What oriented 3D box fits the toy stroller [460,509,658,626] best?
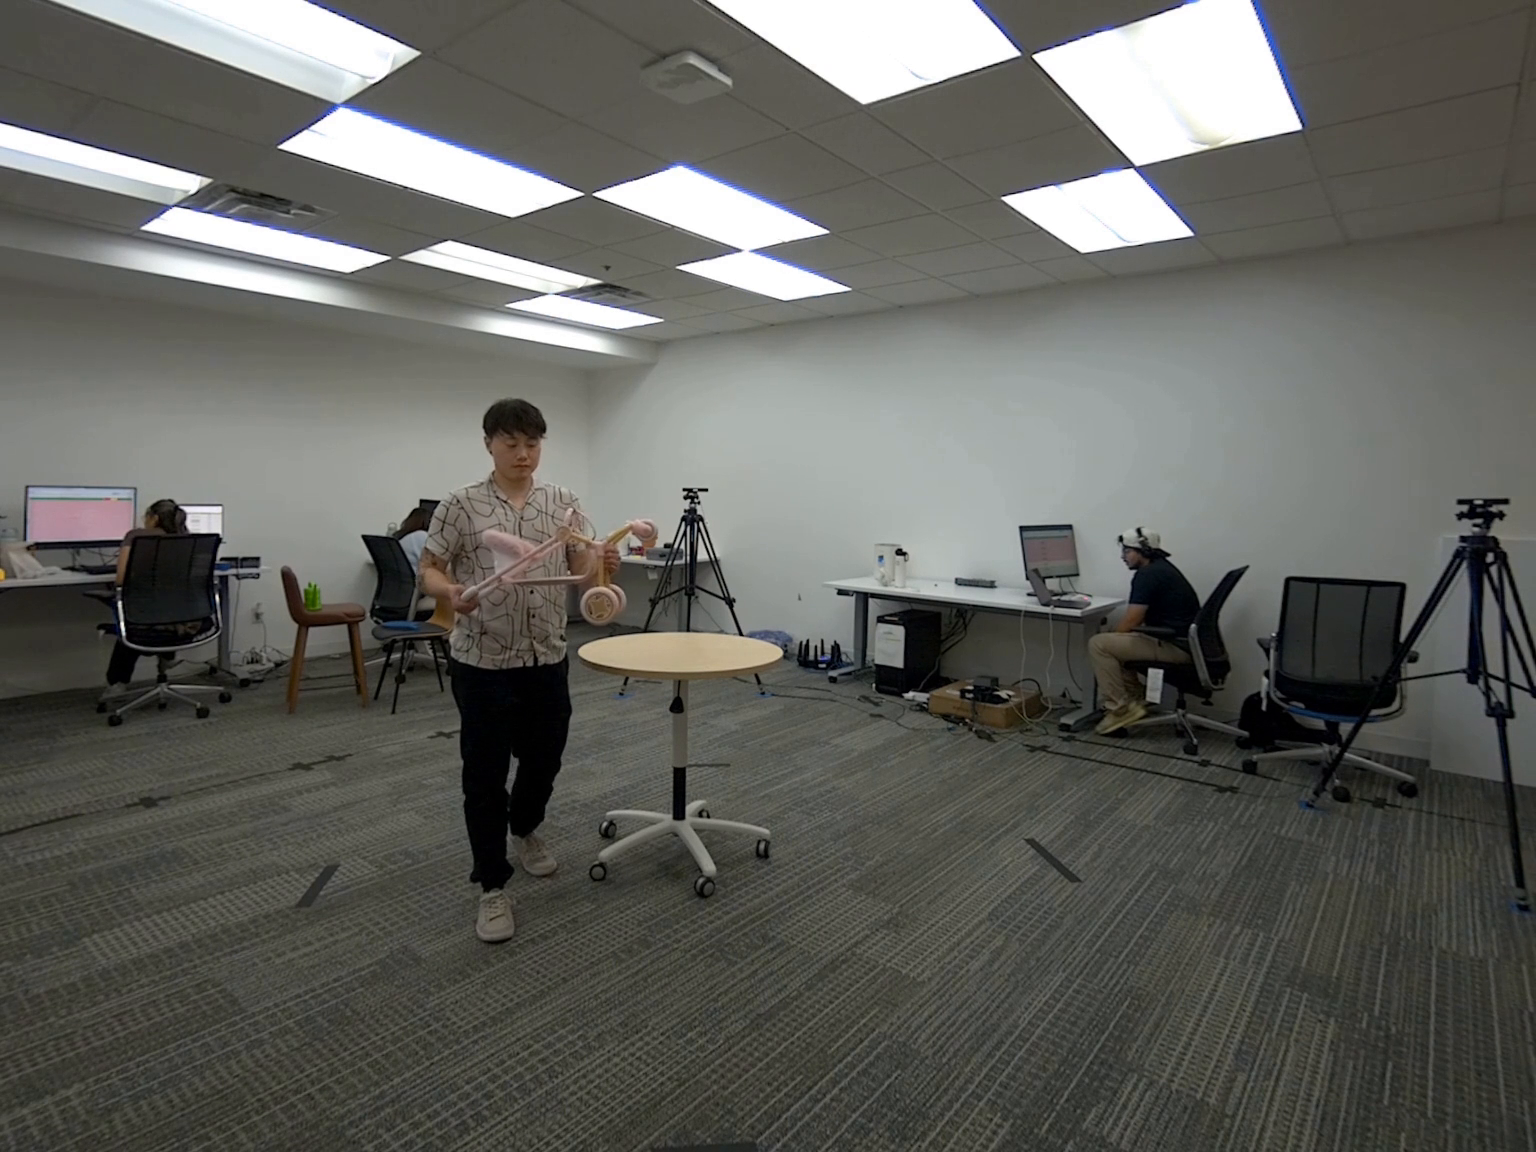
[{"bbox_3d":[-0.618,-0.051,2.547,0.534,0.340,0.283,11,4,-2],"label":"toy stroller"}]
